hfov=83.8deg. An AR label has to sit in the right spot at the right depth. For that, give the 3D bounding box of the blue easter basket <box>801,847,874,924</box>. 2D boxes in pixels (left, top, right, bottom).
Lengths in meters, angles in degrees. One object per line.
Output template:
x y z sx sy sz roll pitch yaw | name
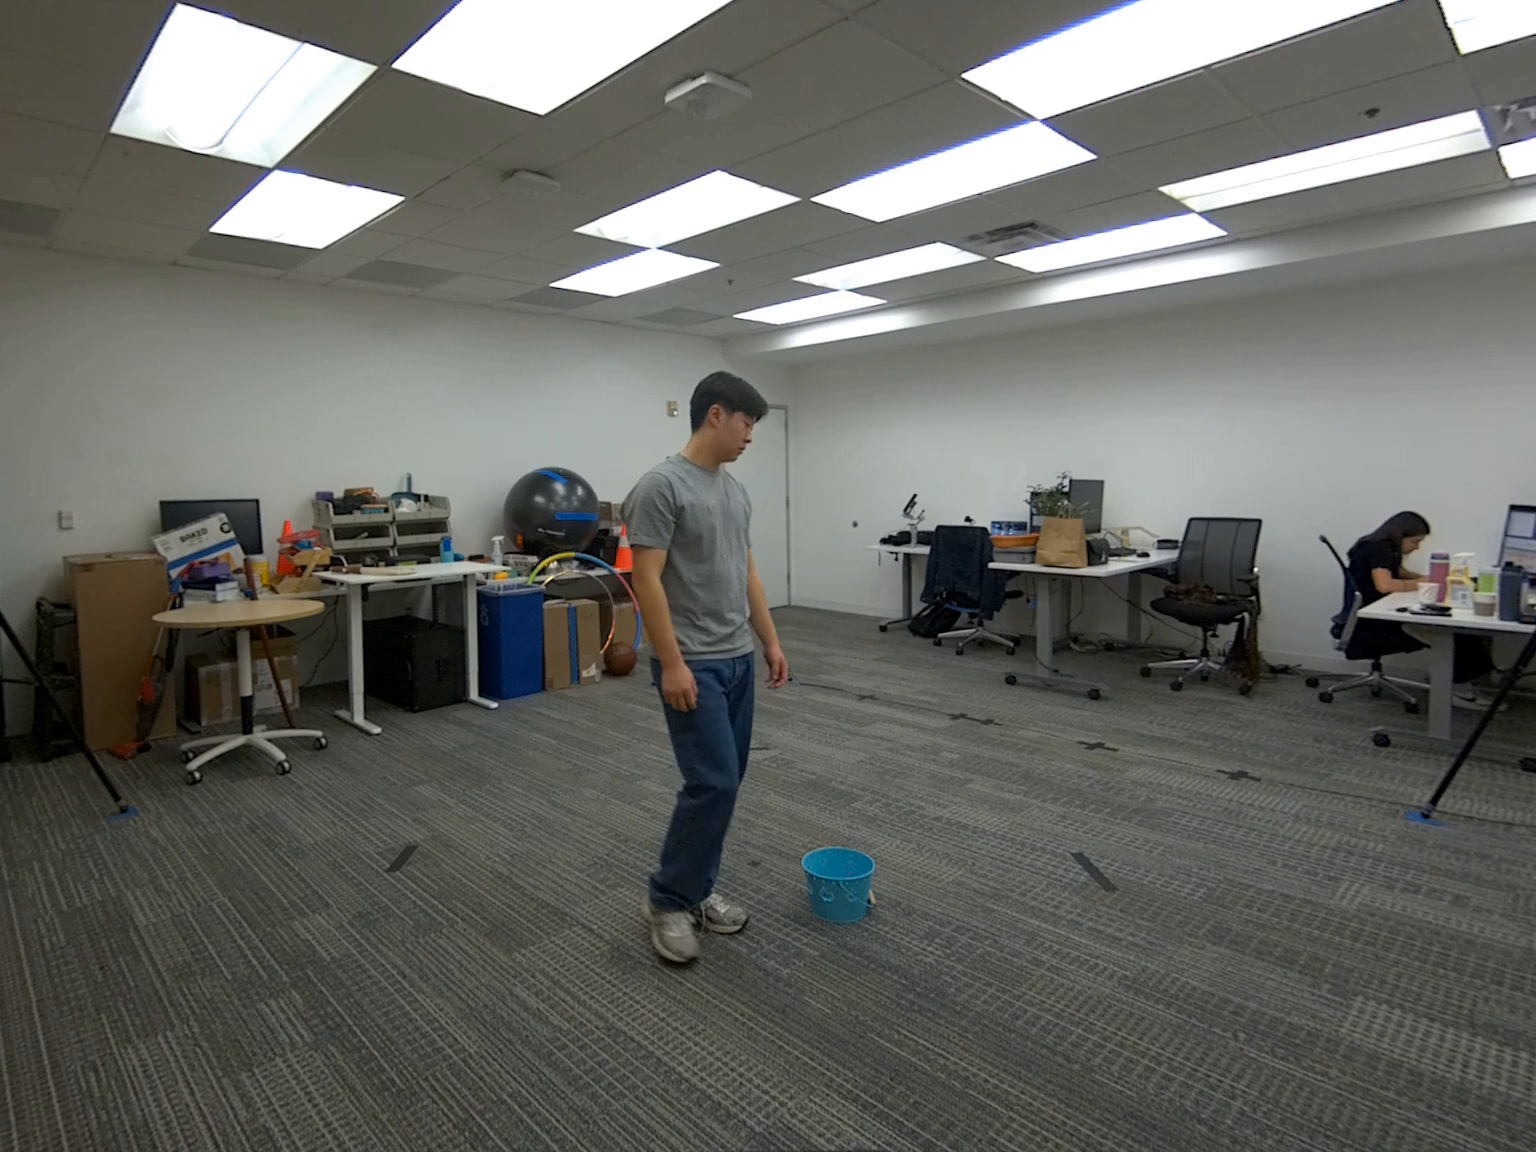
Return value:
0.235 1.003 2.760 0.243 0.155 0.245 -1 6 -2 | blue easter basket
